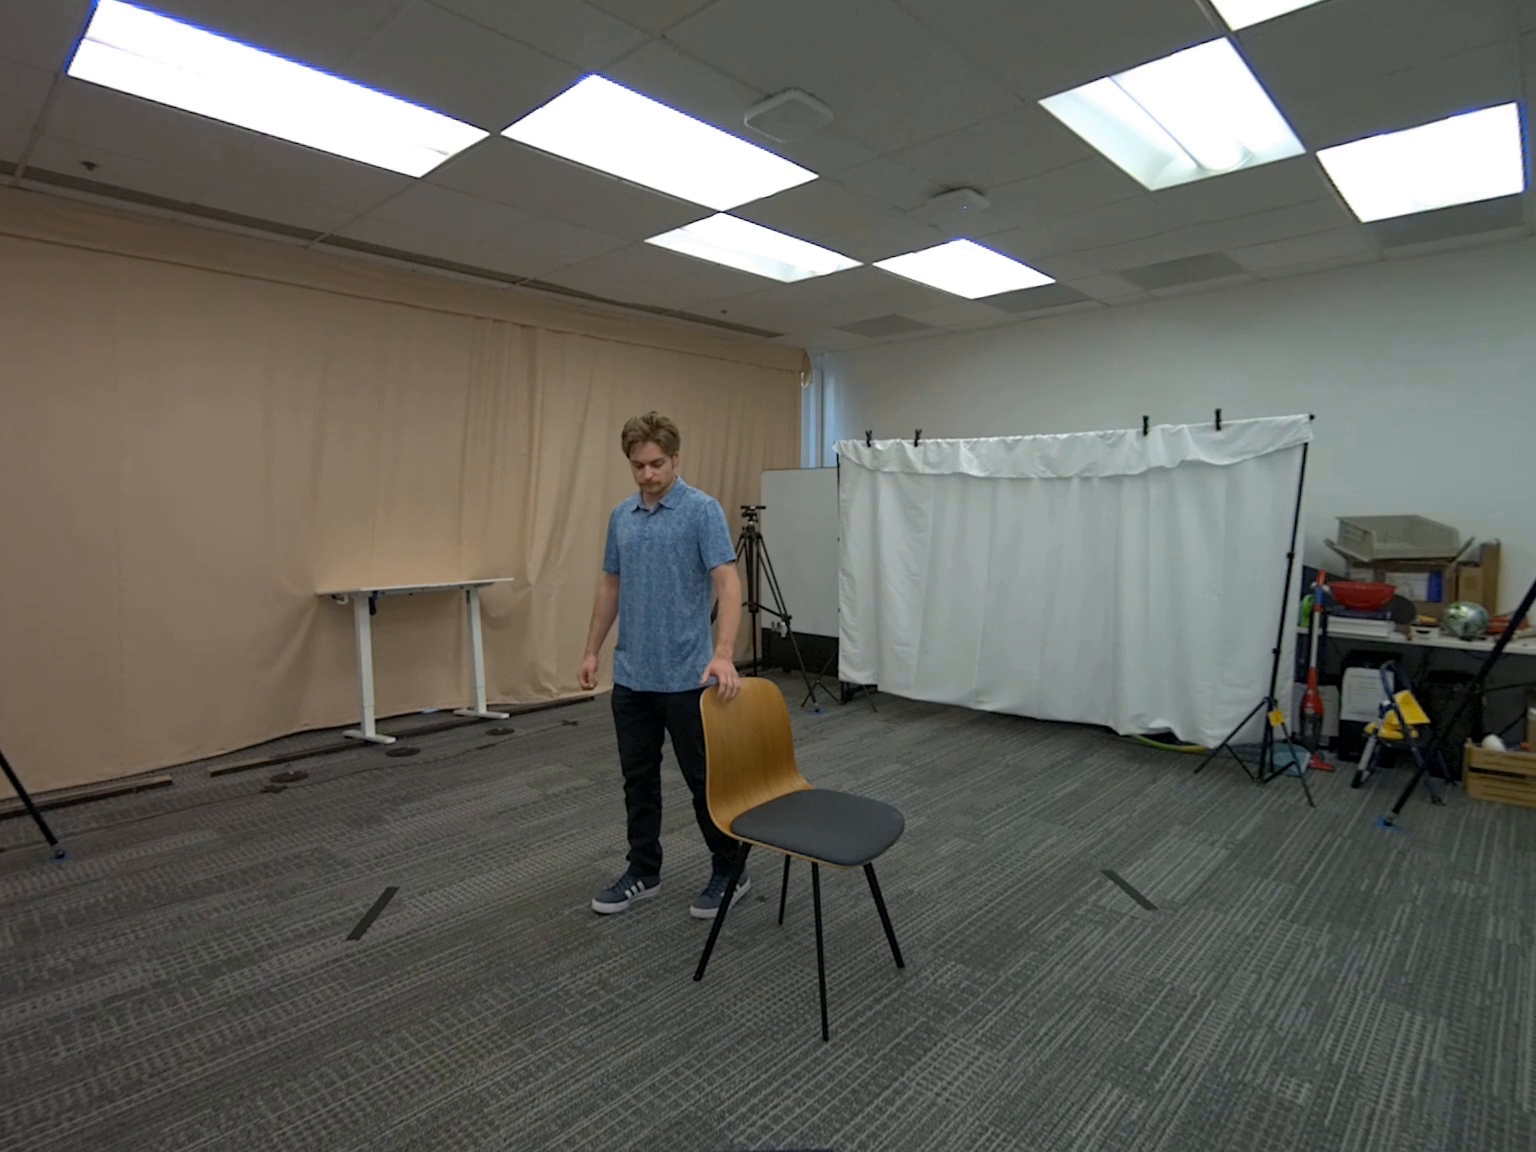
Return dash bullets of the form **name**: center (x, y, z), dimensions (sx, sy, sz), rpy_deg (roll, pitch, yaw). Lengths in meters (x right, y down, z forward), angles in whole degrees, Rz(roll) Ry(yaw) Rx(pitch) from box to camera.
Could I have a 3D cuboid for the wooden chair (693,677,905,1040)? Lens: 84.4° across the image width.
- **wooden chair**: center (0.112, 0.759, 2.470), dimensions (0.539, 0.877, 0.464), rpy_deg (-3, 0, 37)
